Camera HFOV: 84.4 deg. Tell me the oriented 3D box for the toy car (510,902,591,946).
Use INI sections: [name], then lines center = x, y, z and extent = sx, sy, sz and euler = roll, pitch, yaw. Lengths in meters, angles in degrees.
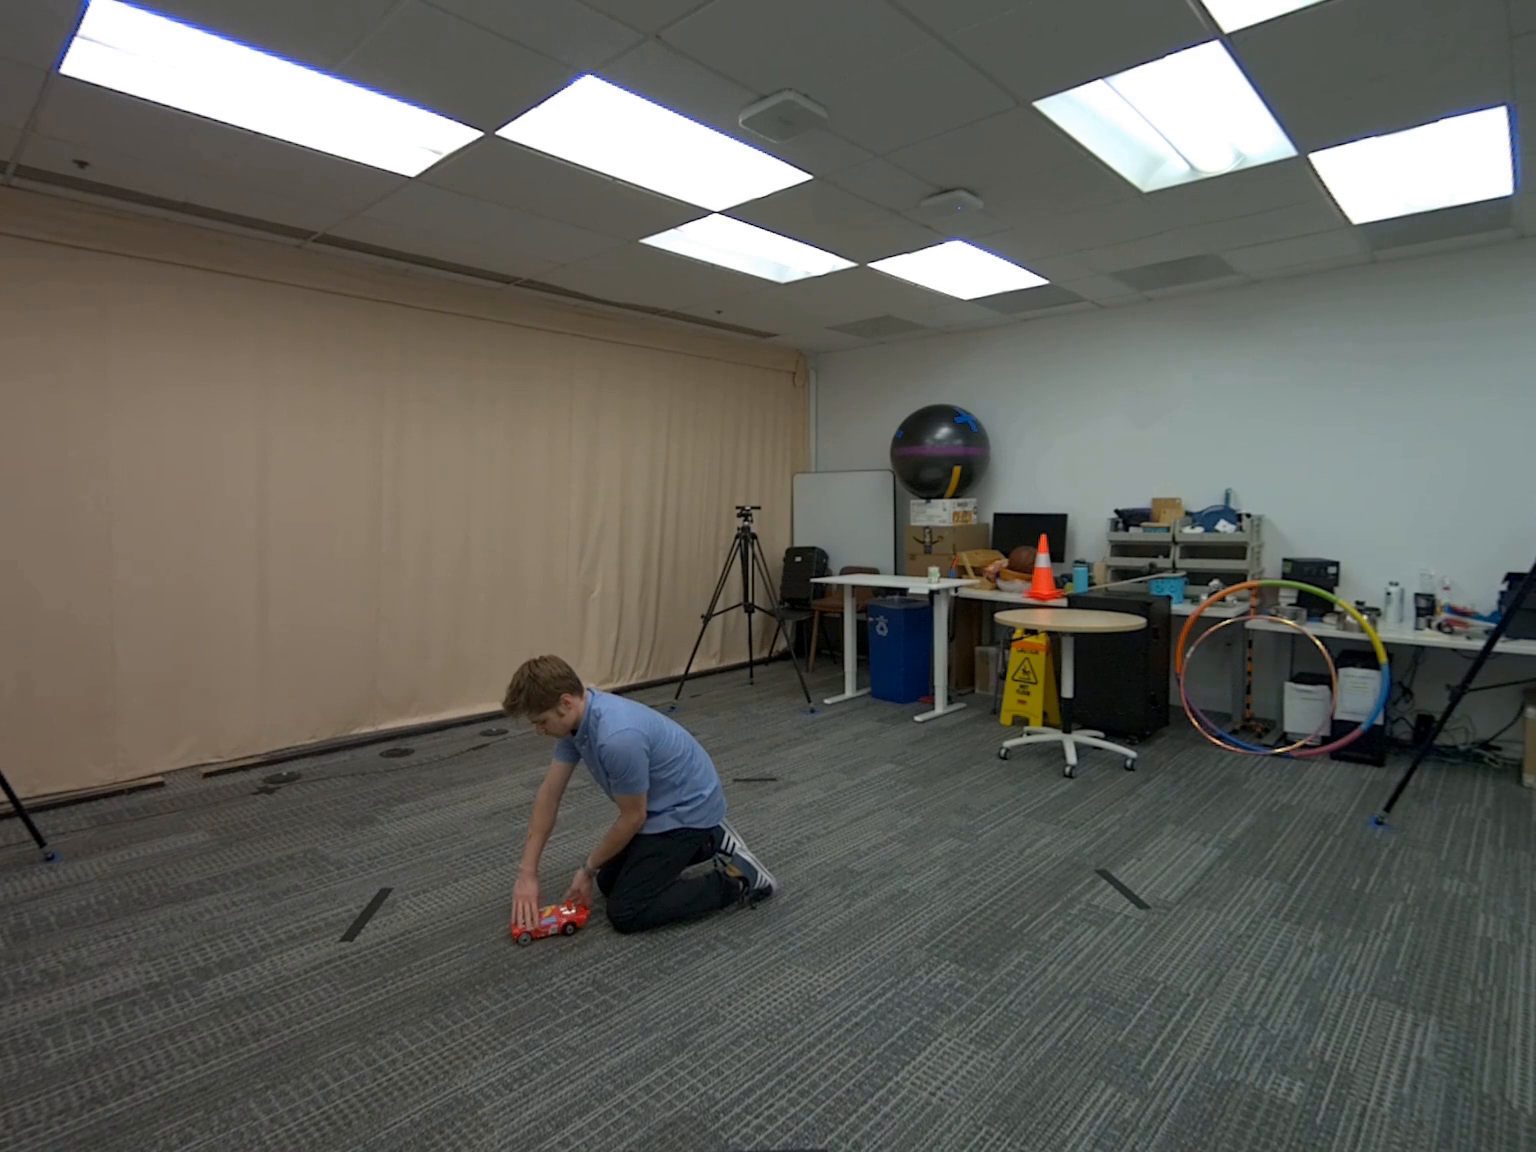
[toy car]
center = -0.721, 1.142, 2.759
extent = 0.250, 0.083, 0.133
euler = -16, 8, -20
